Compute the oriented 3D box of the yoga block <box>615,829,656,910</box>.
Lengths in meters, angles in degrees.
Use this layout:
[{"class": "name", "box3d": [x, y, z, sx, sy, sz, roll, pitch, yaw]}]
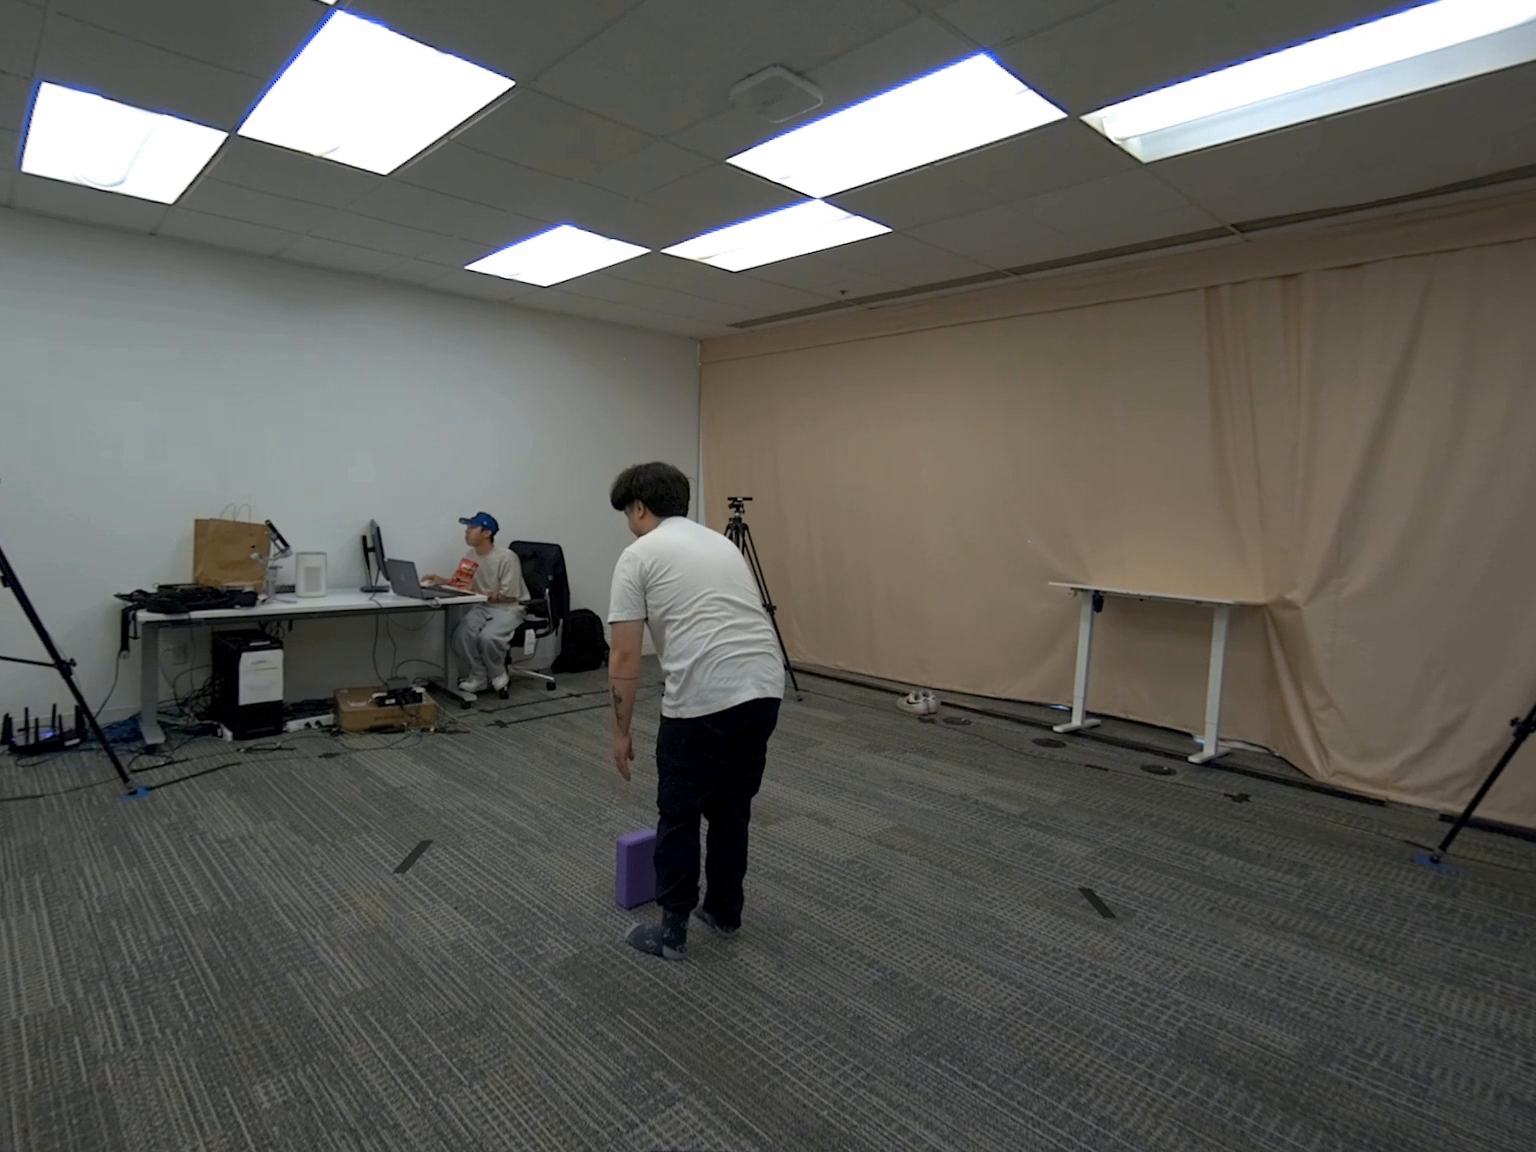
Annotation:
[{"class": "yoga block", "box3d": [-0.456, 1.007, 2.891, 0.146, 0.228, 0.078, -4, 6, -45]}]
